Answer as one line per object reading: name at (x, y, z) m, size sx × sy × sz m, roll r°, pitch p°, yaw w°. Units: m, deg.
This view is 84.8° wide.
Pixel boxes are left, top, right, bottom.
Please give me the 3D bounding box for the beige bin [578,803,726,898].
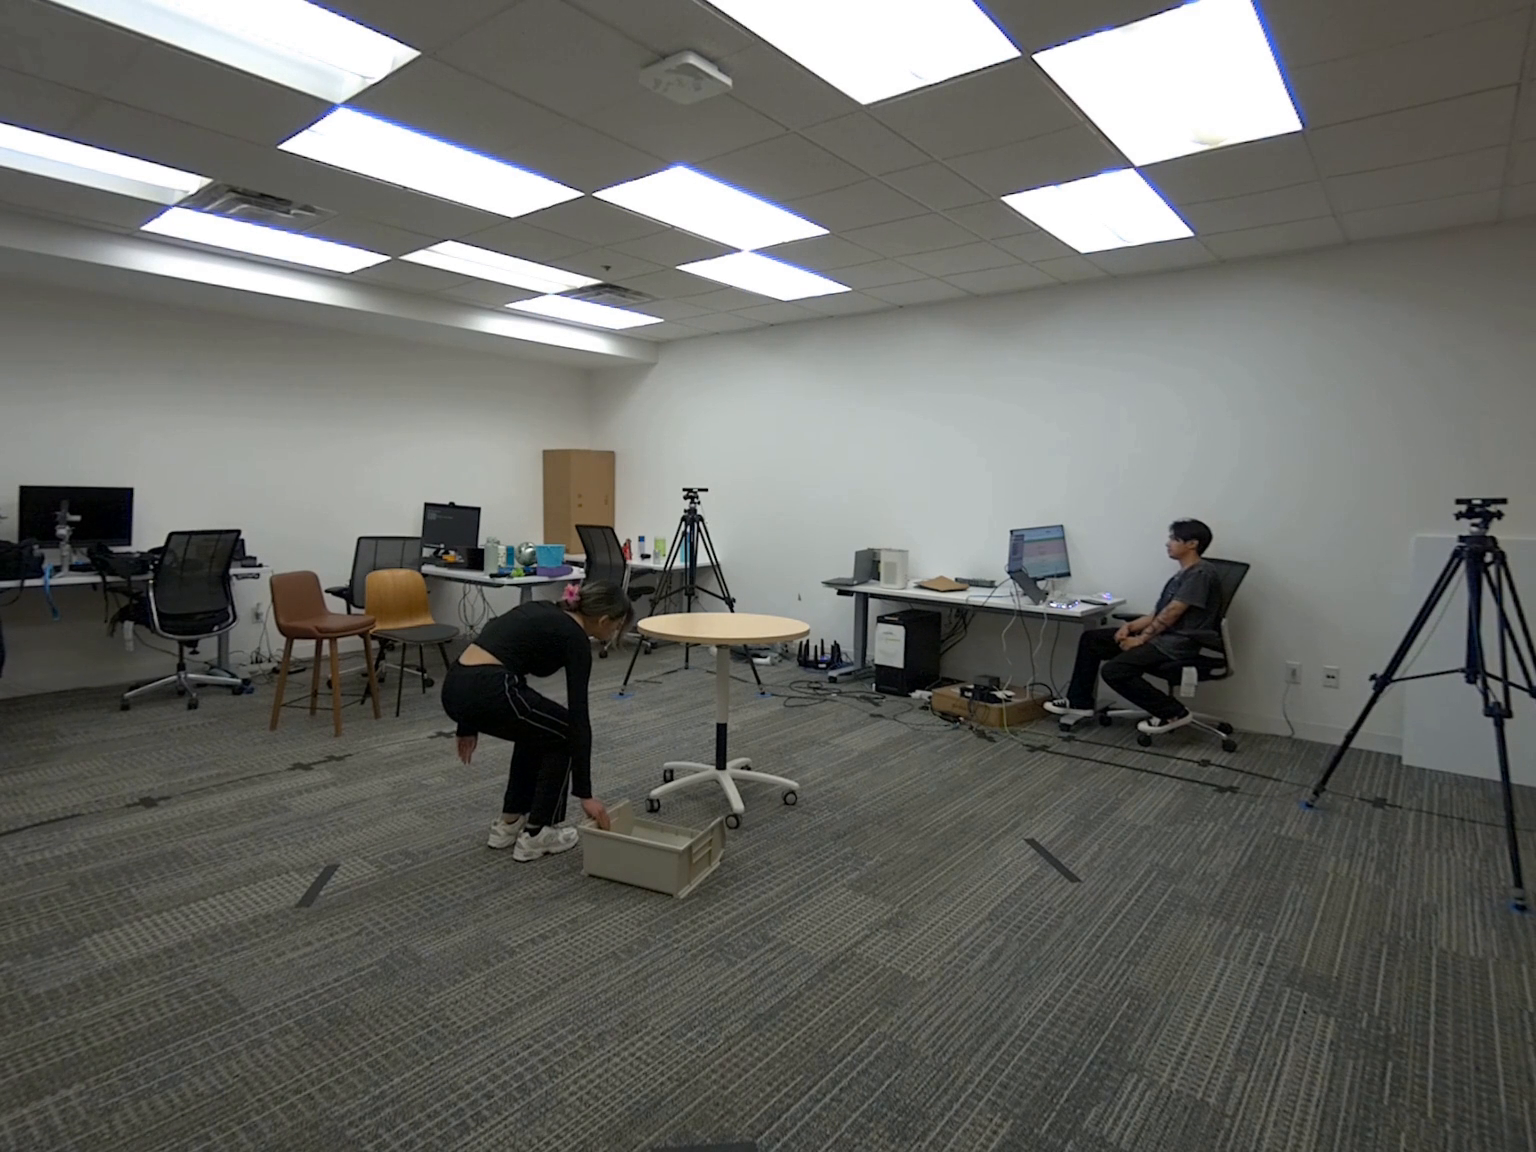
beige bin at (-0.428, 0.979, 3.113) m, size 0.433 × 0.188 × 0.370 m, roll 4°, pitch 7°, yaw 24°
